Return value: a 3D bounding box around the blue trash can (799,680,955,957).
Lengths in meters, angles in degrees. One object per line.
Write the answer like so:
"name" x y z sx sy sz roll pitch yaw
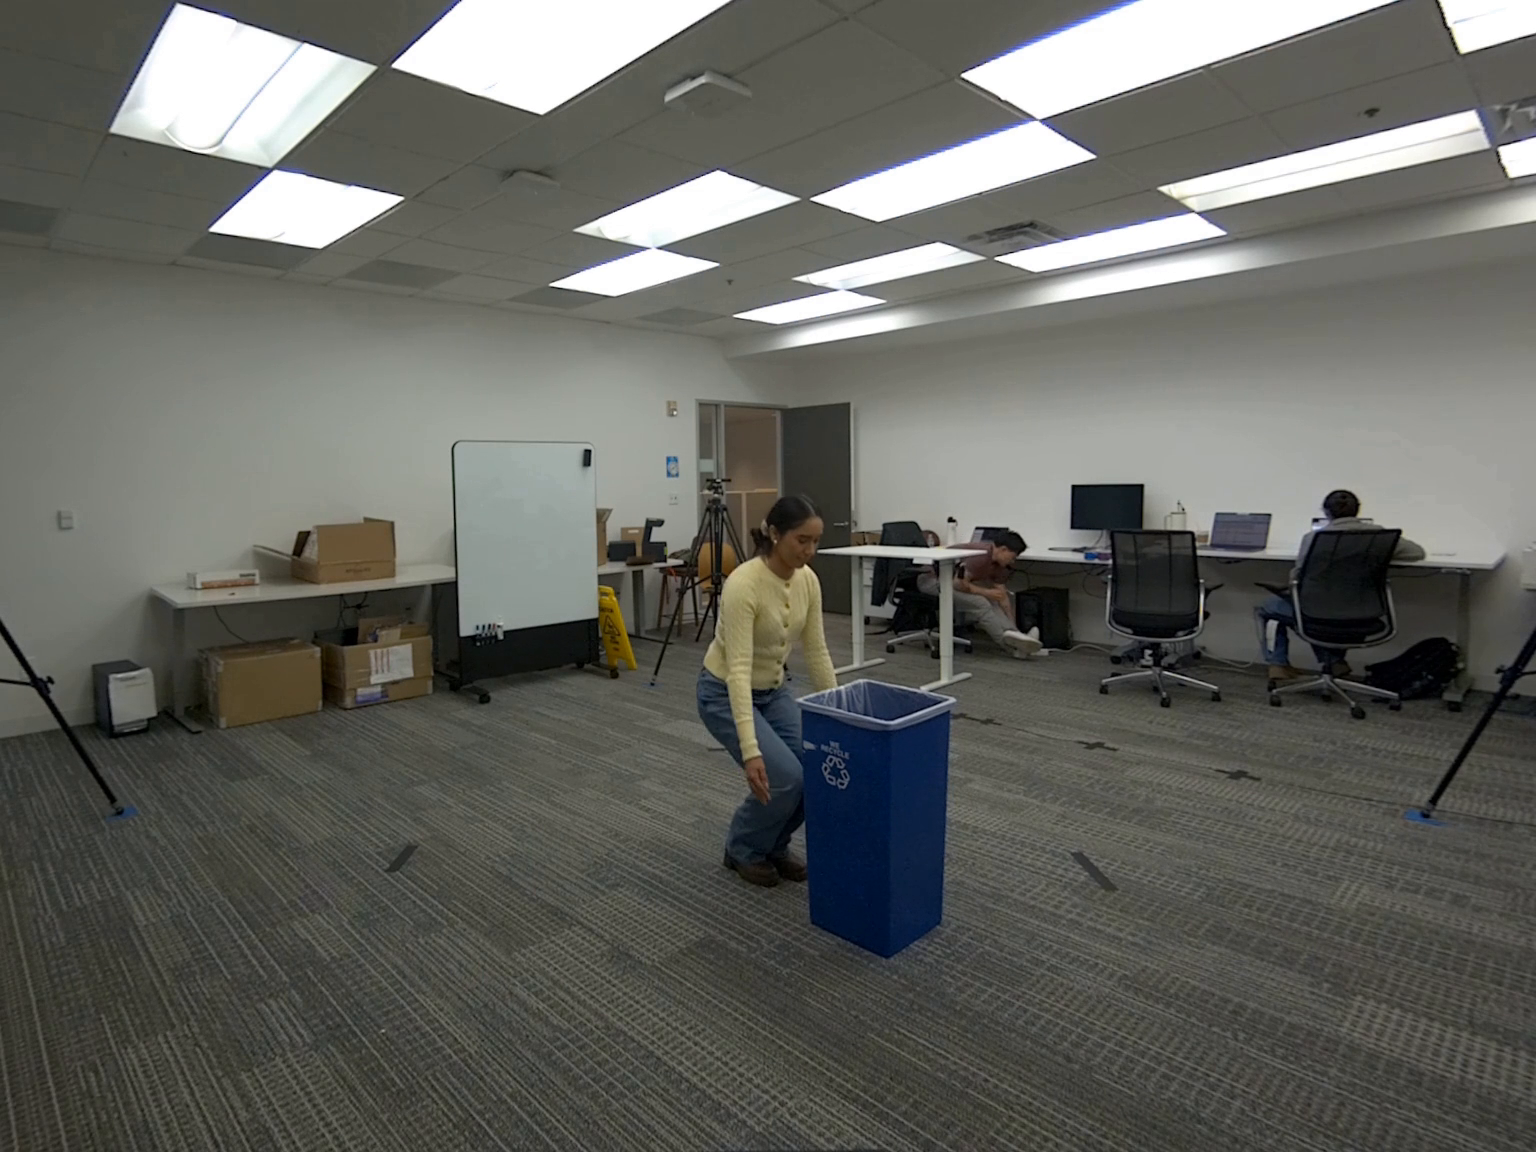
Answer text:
"blue trash can" 0.344 0.732 2.653 0.385 0.711 0.368 3 6 44
